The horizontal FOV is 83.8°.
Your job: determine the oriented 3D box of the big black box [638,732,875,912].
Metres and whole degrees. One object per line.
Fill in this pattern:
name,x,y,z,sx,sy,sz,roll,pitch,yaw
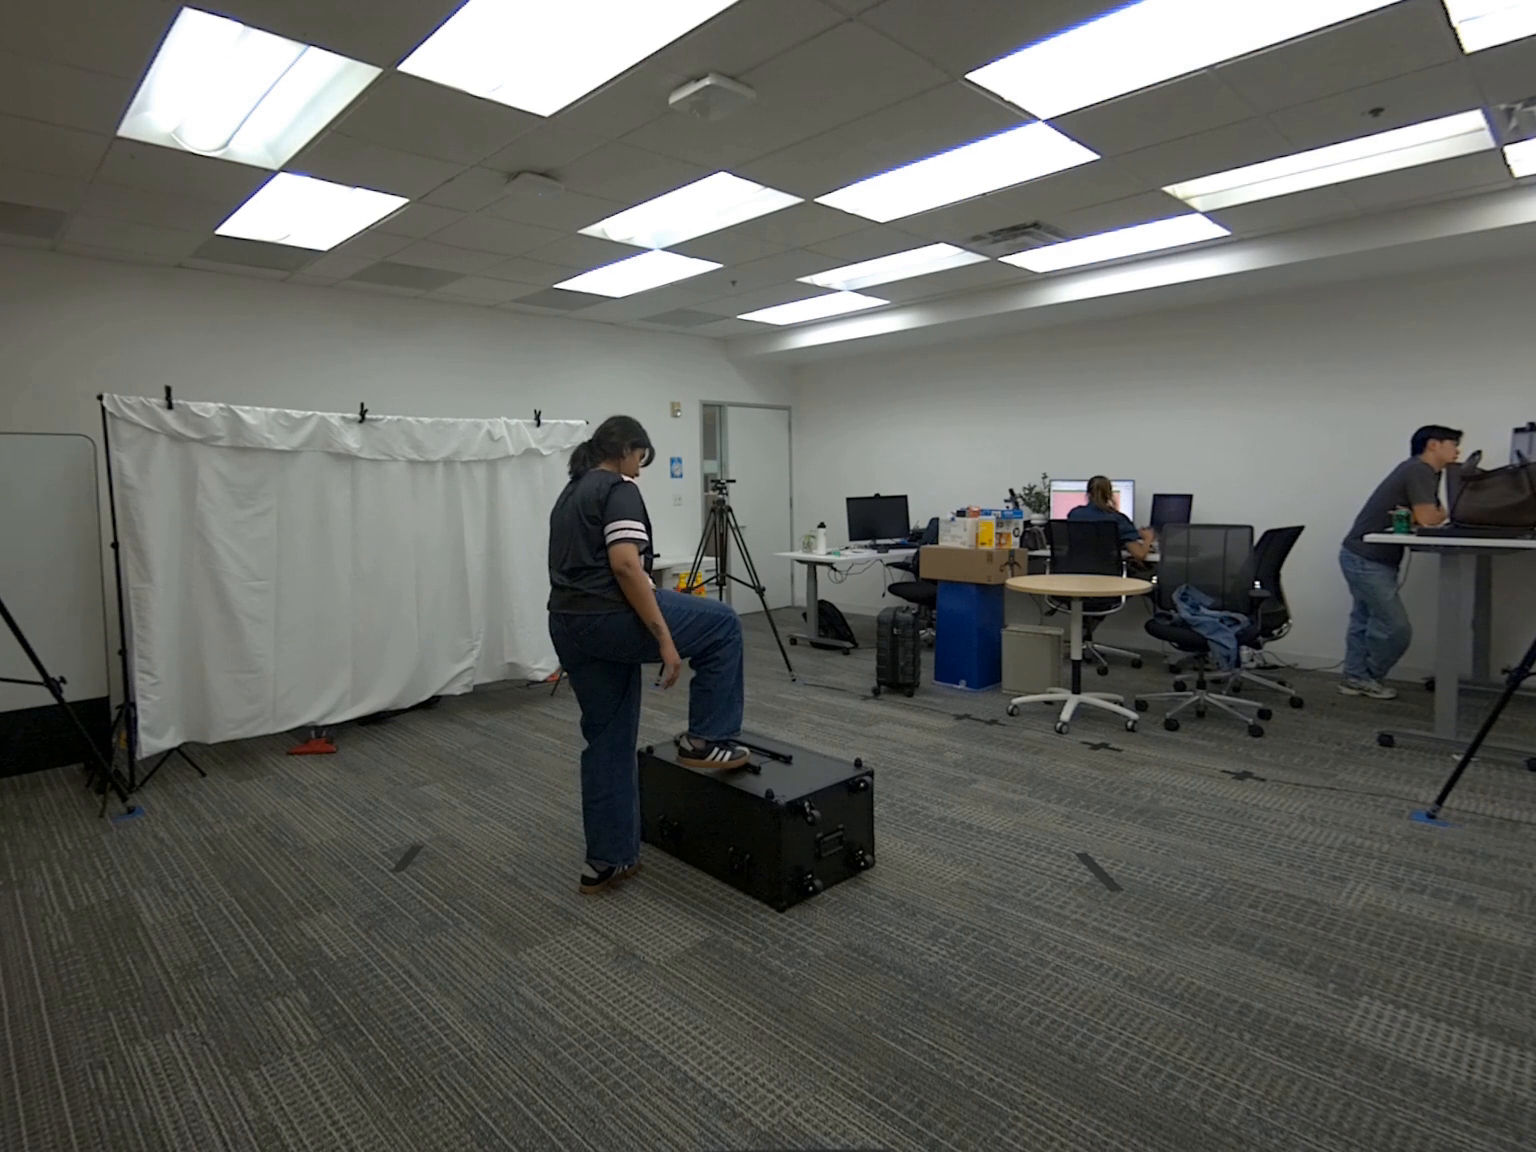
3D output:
big black box,-0.030,0.854,3.168,0.509,0.384,0.895,-5,7,-43
